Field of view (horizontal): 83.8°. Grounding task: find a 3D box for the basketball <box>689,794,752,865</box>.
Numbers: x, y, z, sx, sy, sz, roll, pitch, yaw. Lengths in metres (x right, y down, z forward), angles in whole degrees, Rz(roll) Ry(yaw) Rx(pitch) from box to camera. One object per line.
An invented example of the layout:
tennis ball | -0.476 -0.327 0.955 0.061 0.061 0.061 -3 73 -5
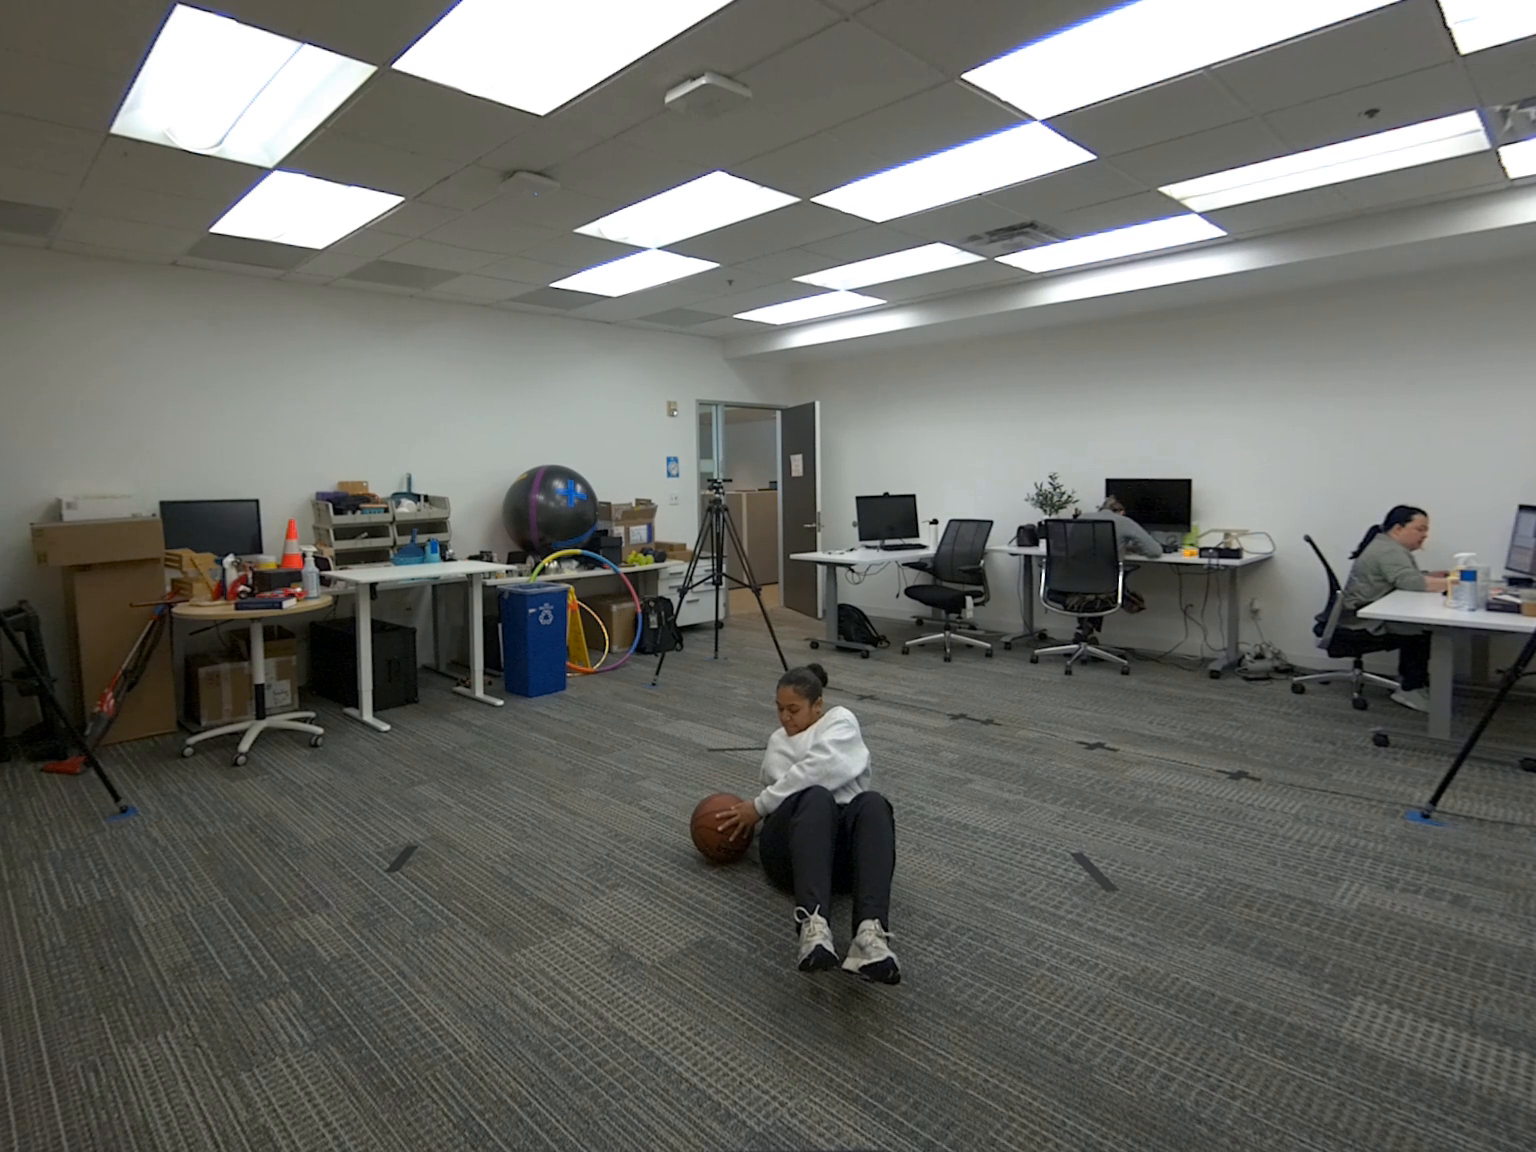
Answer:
basketball | -0.161 0.923 3.134 0.236 0.235 0.237 -1 5 -2
